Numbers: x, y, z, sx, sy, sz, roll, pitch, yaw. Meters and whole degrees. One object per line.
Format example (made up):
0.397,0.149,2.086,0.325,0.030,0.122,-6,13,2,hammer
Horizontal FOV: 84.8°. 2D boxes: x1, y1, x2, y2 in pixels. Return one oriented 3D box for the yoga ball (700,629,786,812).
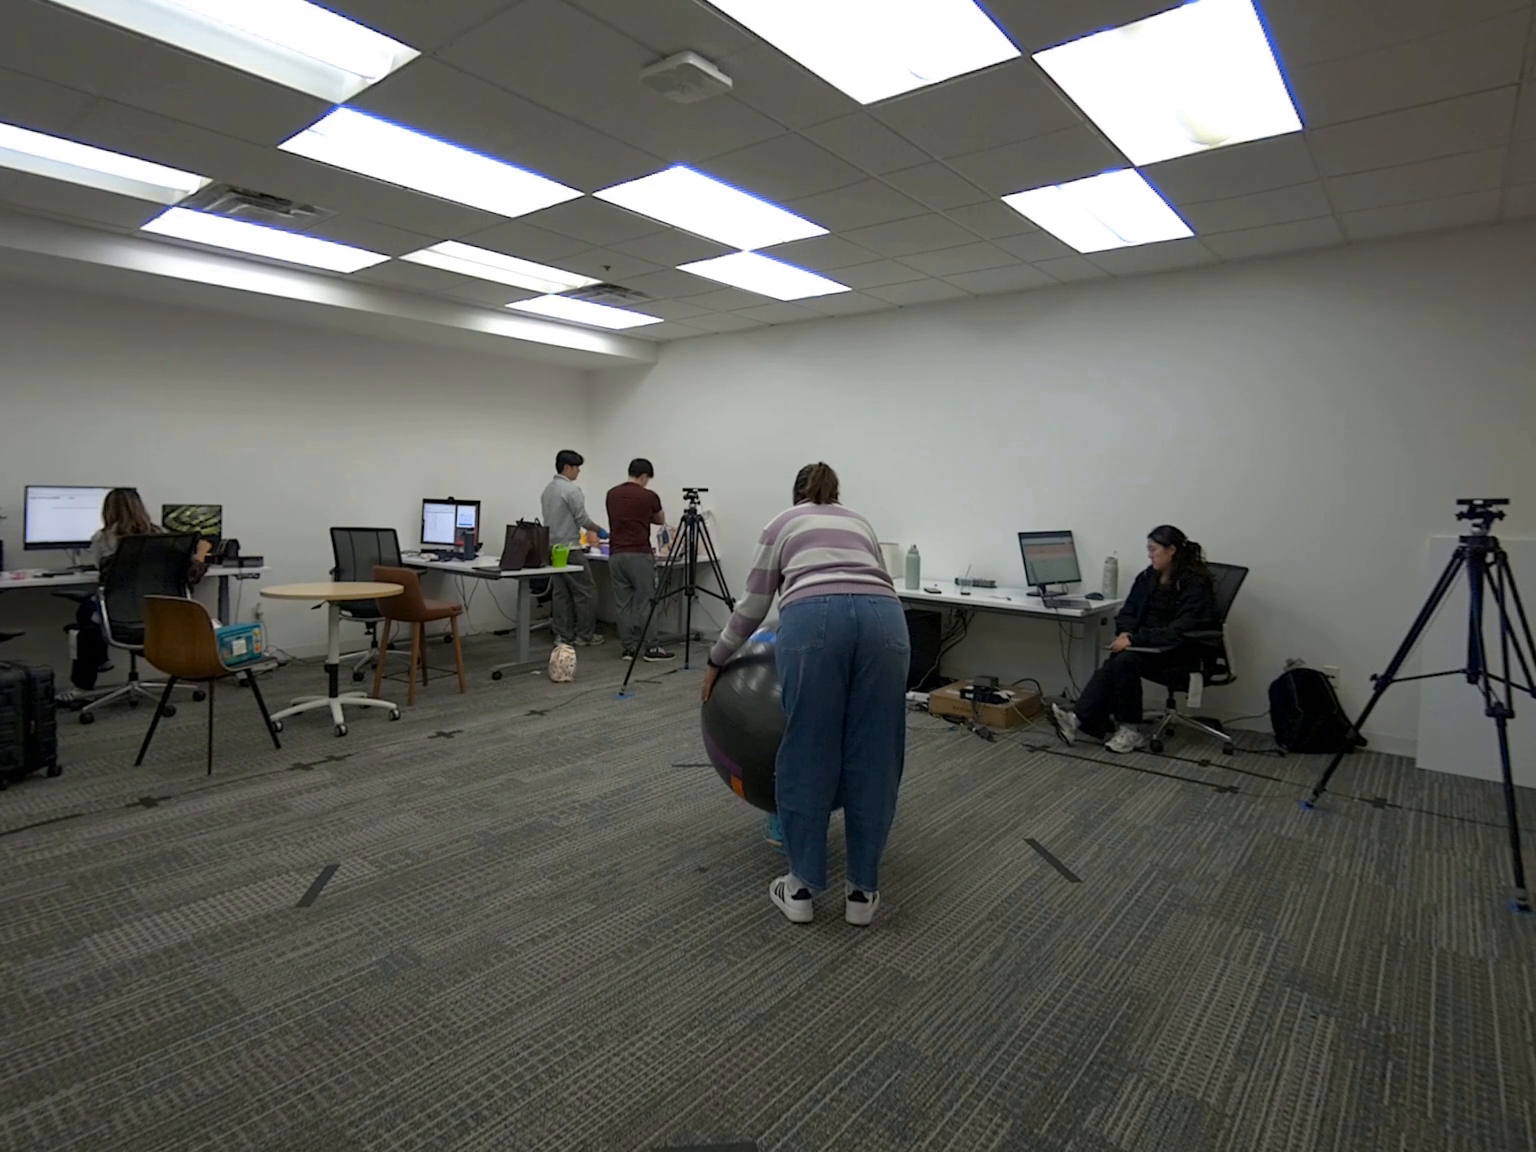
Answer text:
0.121,0.541,3.309,0.757,0.756,0.762,1,4,-2,yoga ball
